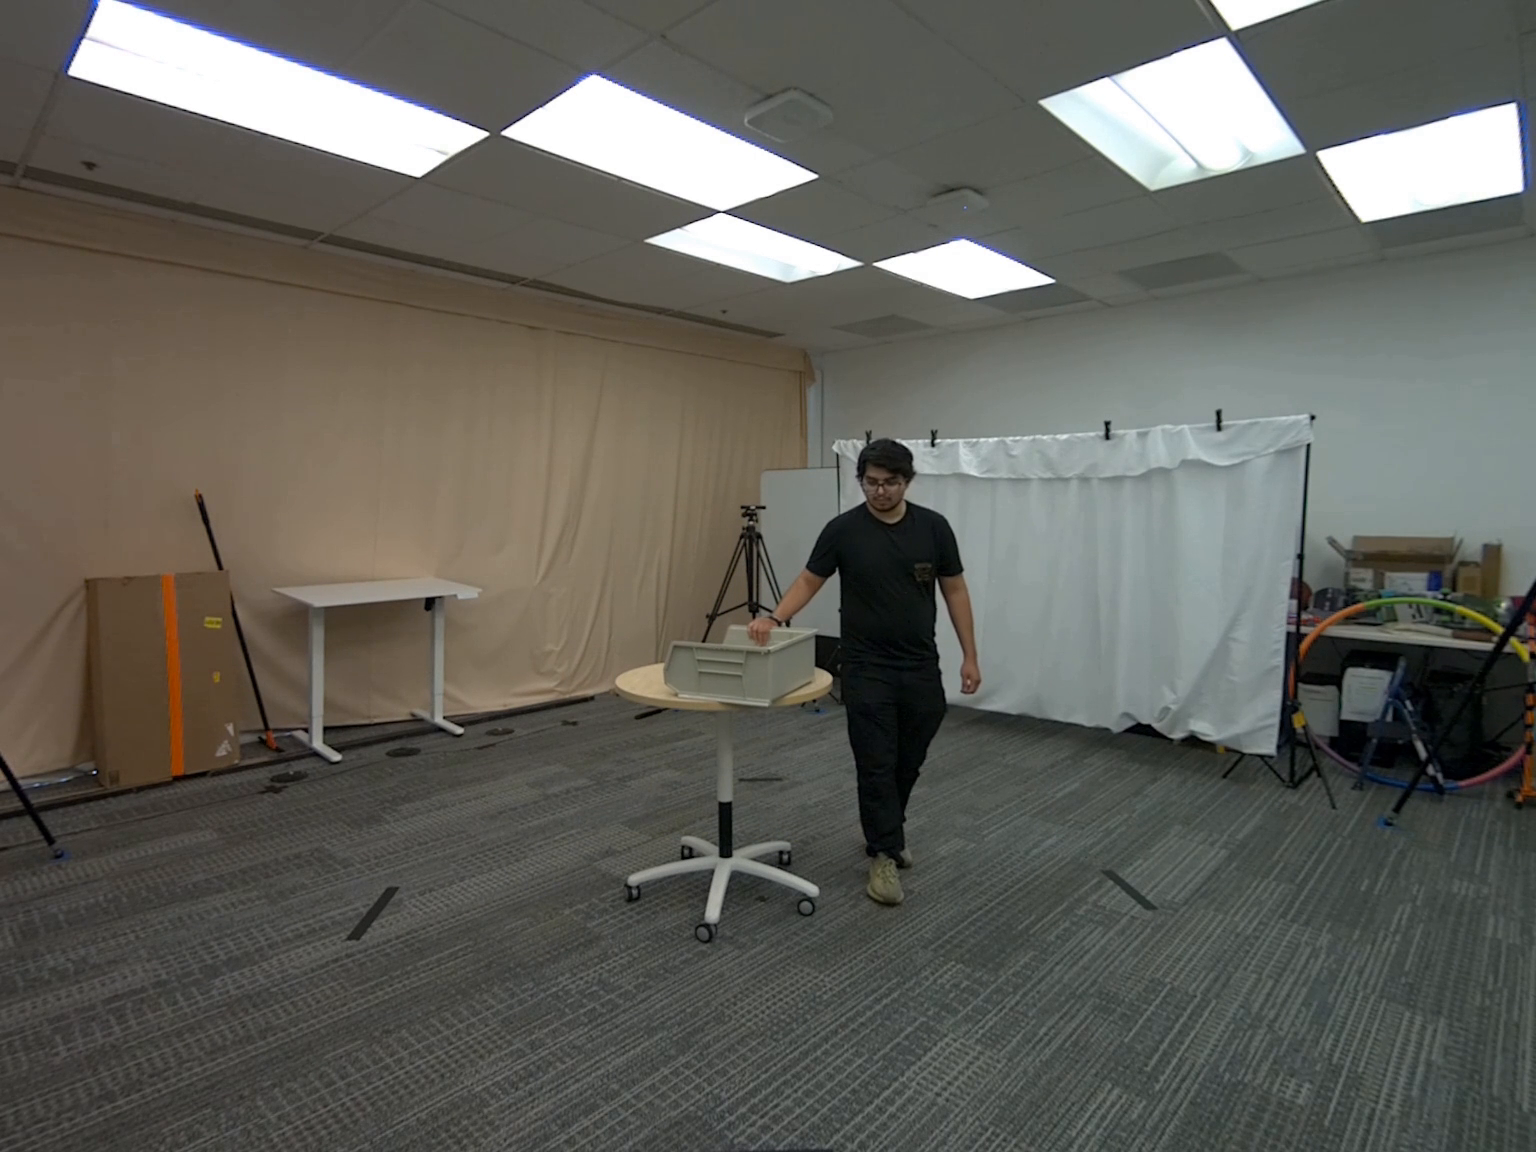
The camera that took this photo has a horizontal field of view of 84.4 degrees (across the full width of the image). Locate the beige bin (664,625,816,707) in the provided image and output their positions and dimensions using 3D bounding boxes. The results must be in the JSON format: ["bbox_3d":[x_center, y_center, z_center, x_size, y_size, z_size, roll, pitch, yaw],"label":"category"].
[{"bbox_3d":[-0.076,0.285,2.786,0.387,0.188,0.412,3,5,25],"label":"beige bin"}]
